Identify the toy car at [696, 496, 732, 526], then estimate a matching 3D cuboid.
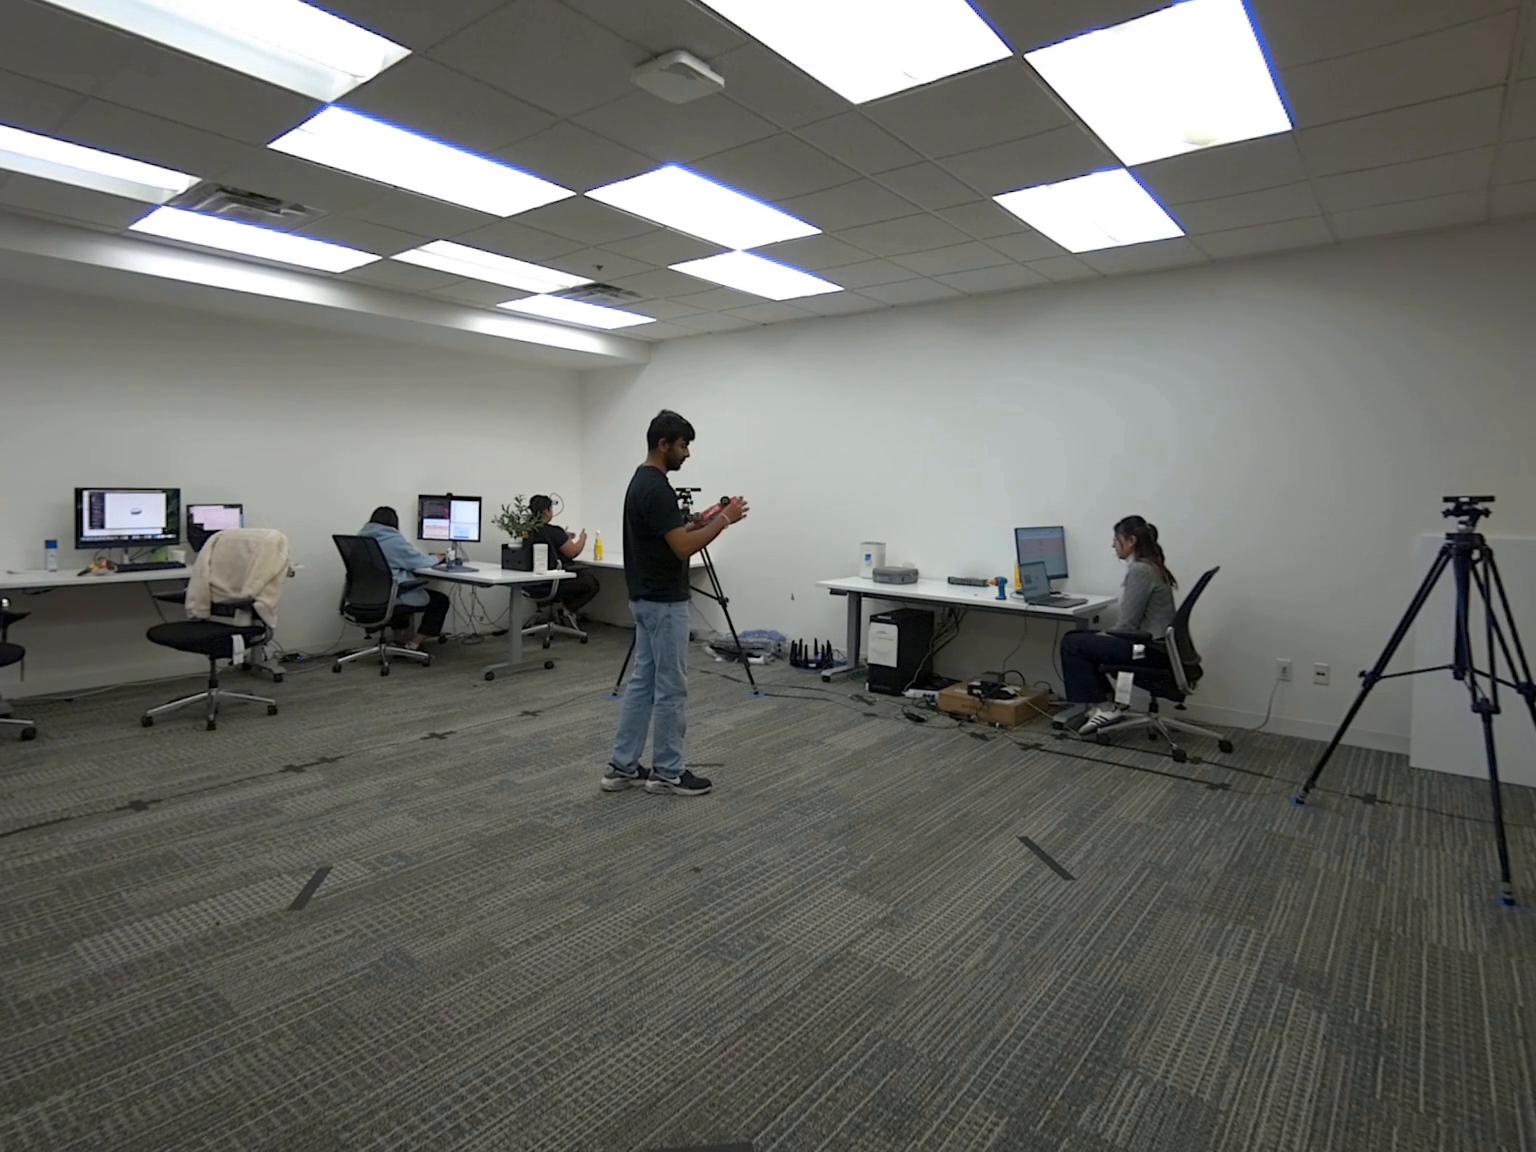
[{"bbox_3d":[-0.248,-0.312,3.965,0.255,0.084,0.128,-19,-8,4],"label":"toy car"}]
